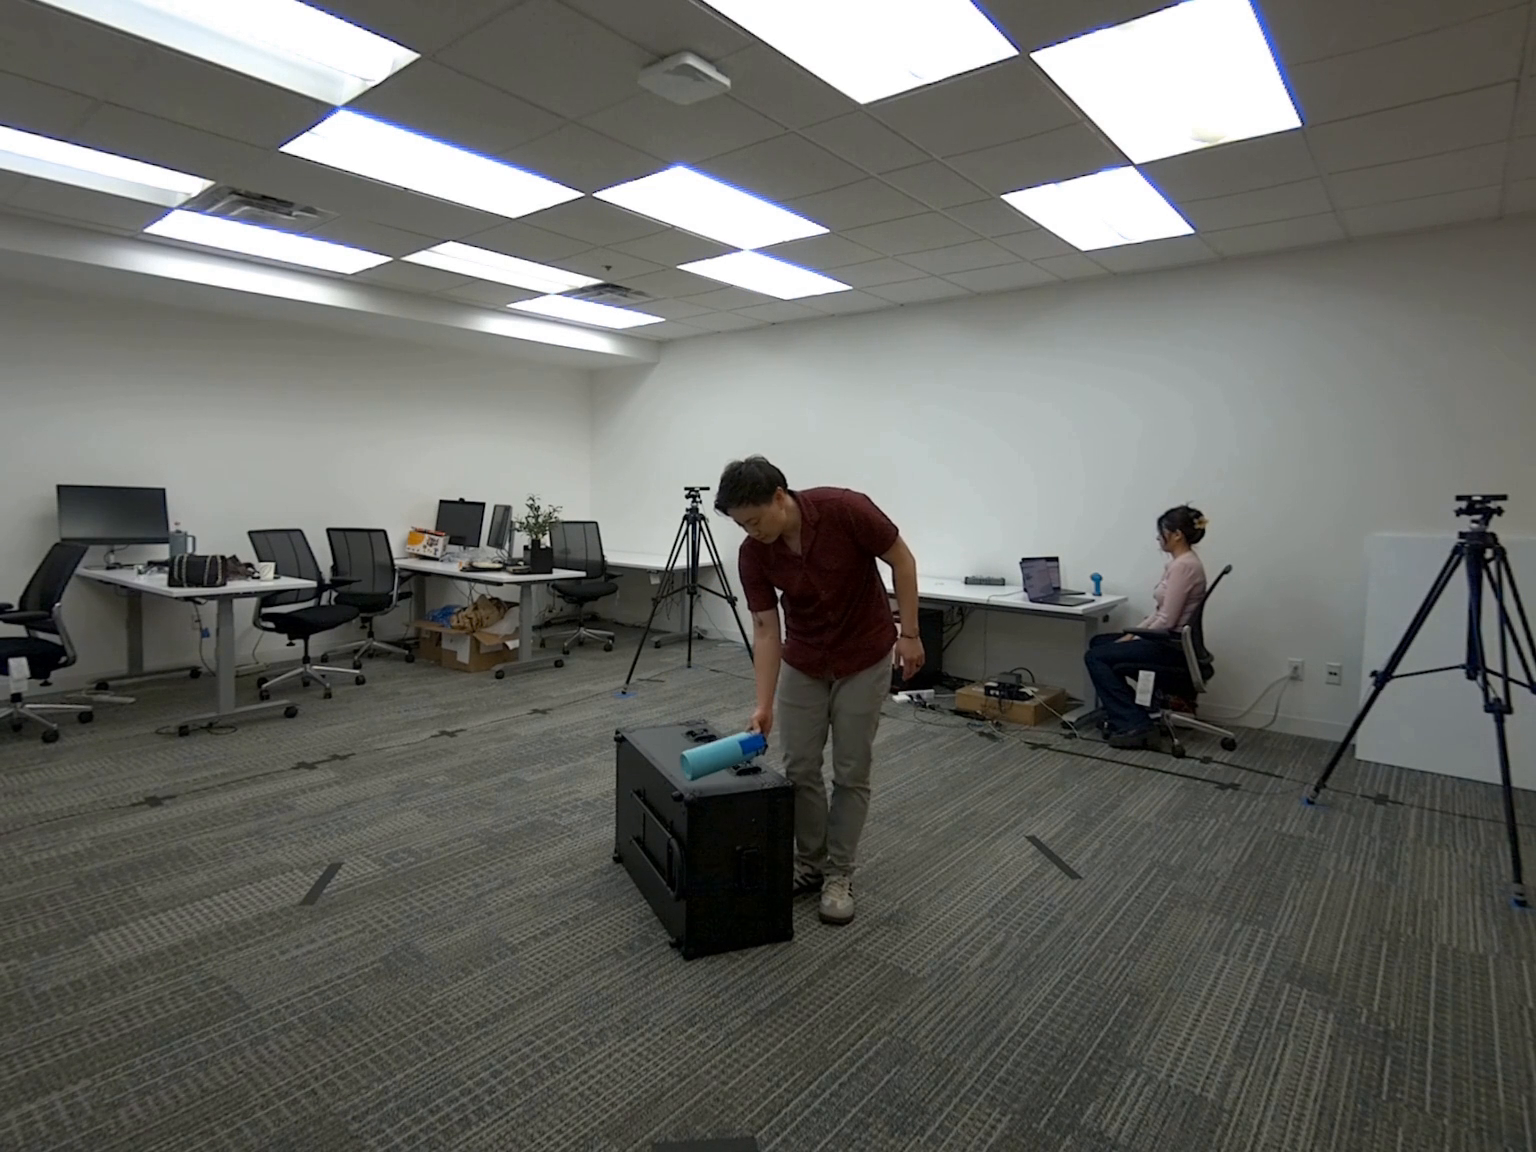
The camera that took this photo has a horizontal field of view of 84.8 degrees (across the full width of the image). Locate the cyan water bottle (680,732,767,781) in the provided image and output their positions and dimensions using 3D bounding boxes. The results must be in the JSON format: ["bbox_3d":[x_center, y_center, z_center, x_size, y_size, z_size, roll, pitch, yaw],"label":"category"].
[{"bbox_3d":[-0.137,0.541,2.620,0.278,0.091,0.095,-12,9,-24],"label":"cyan water bottle"}]
